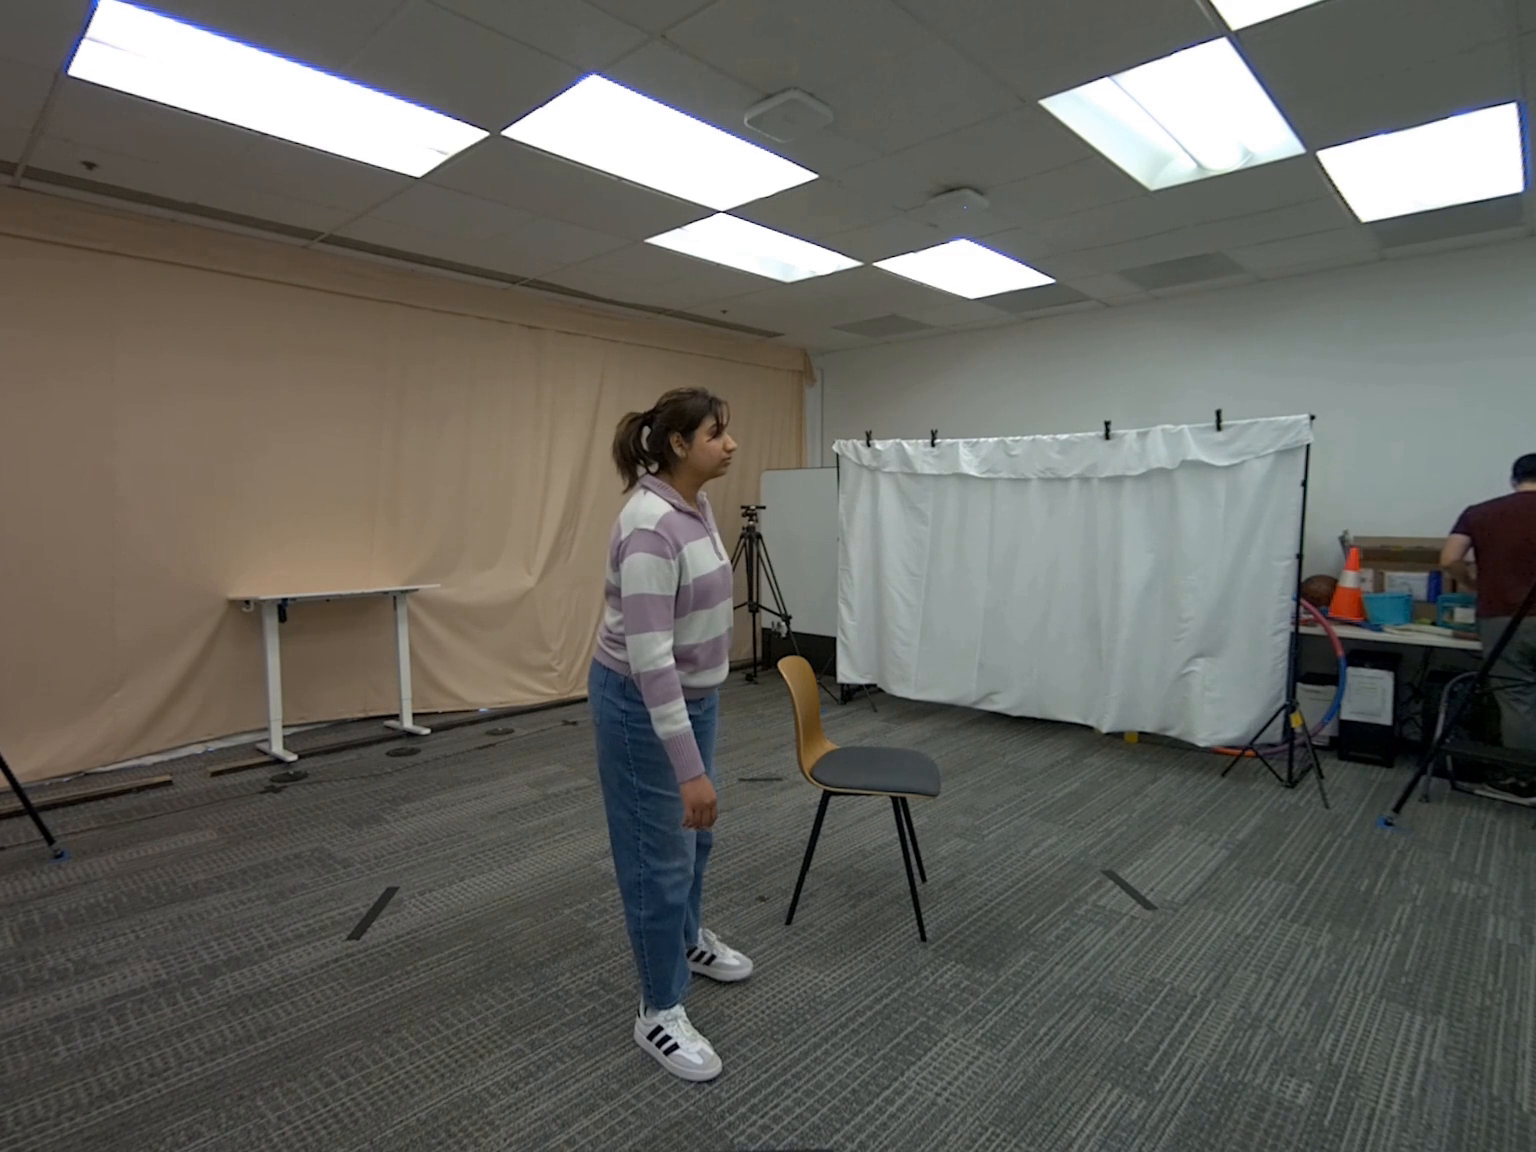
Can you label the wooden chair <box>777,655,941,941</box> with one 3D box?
[{"bbox_3d":[0.333,0.720,2.919,0.531,0.876,0.472,-3,2,13],"label":"wooden chair"}]
